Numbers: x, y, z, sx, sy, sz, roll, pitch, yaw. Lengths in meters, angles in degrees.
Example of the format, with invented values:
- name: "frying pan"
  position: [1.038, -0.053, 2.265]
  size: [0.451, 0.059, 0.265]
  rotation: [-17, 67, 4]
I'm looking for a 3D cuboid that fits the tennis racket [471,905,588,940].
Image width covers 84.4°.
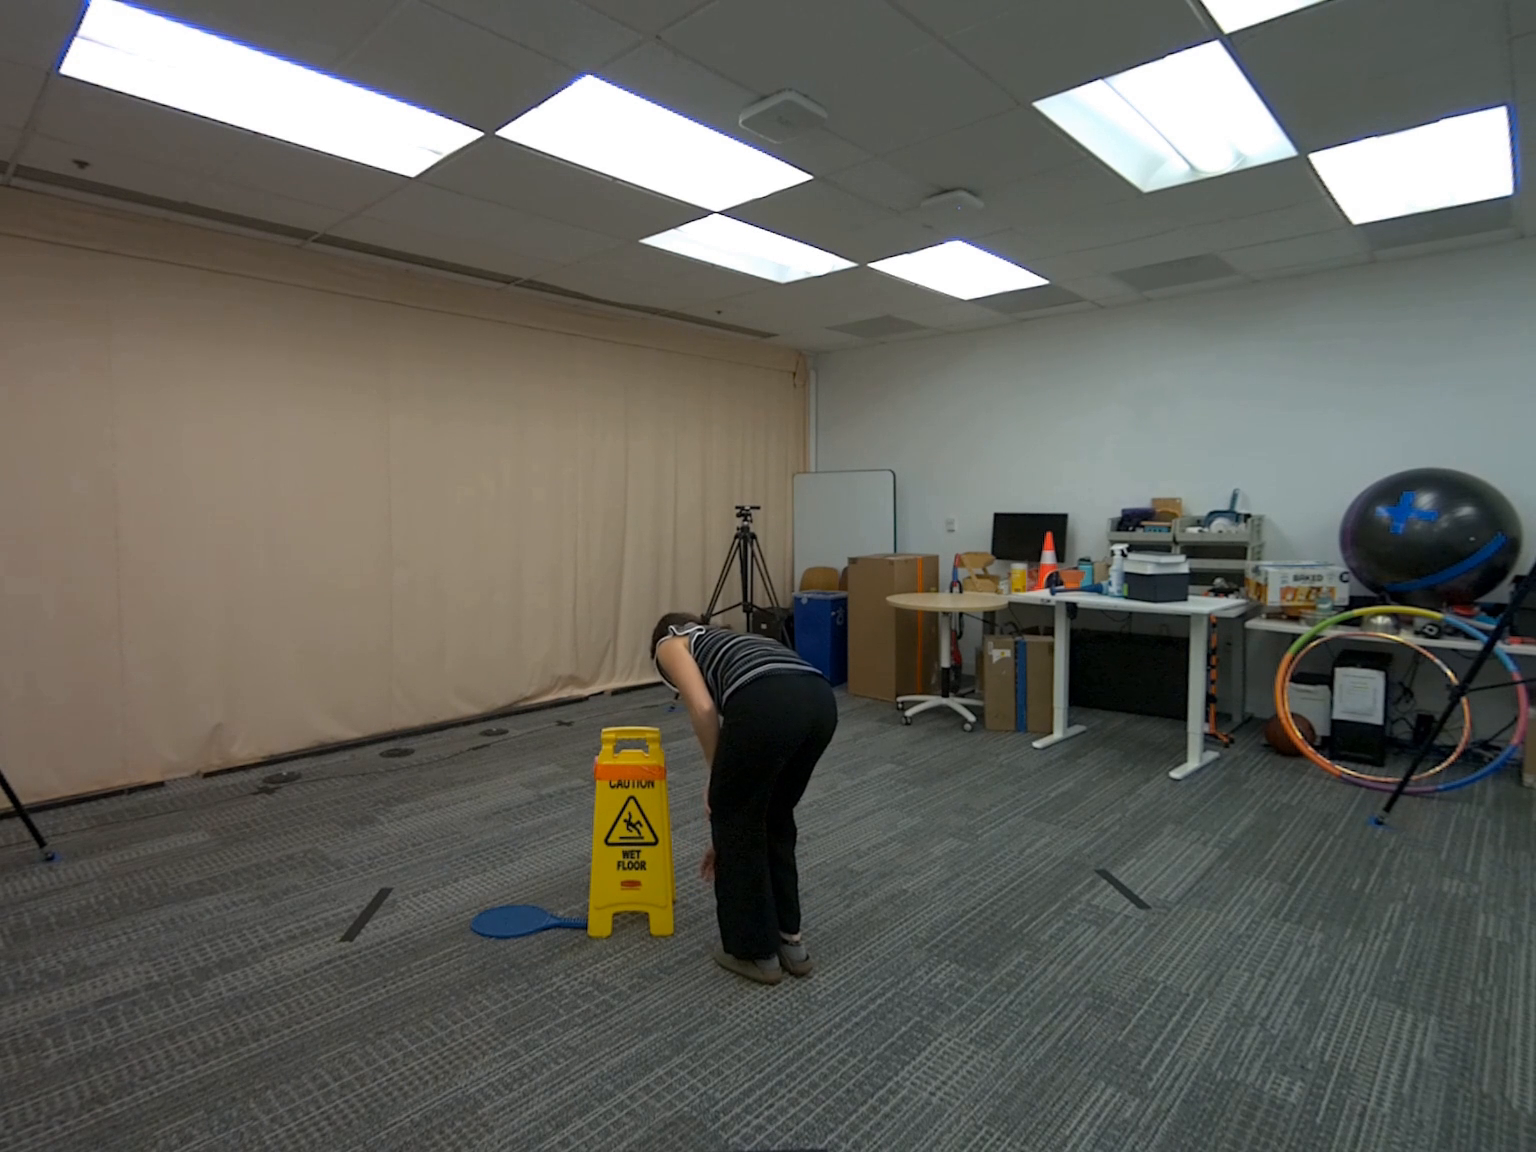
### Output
- name: "tennis racket"
  position: [-0.779, 1.152, 2.810]
  size: [0.437, 0.032, 0.212]
  rotation: [-1, 5, 8]
